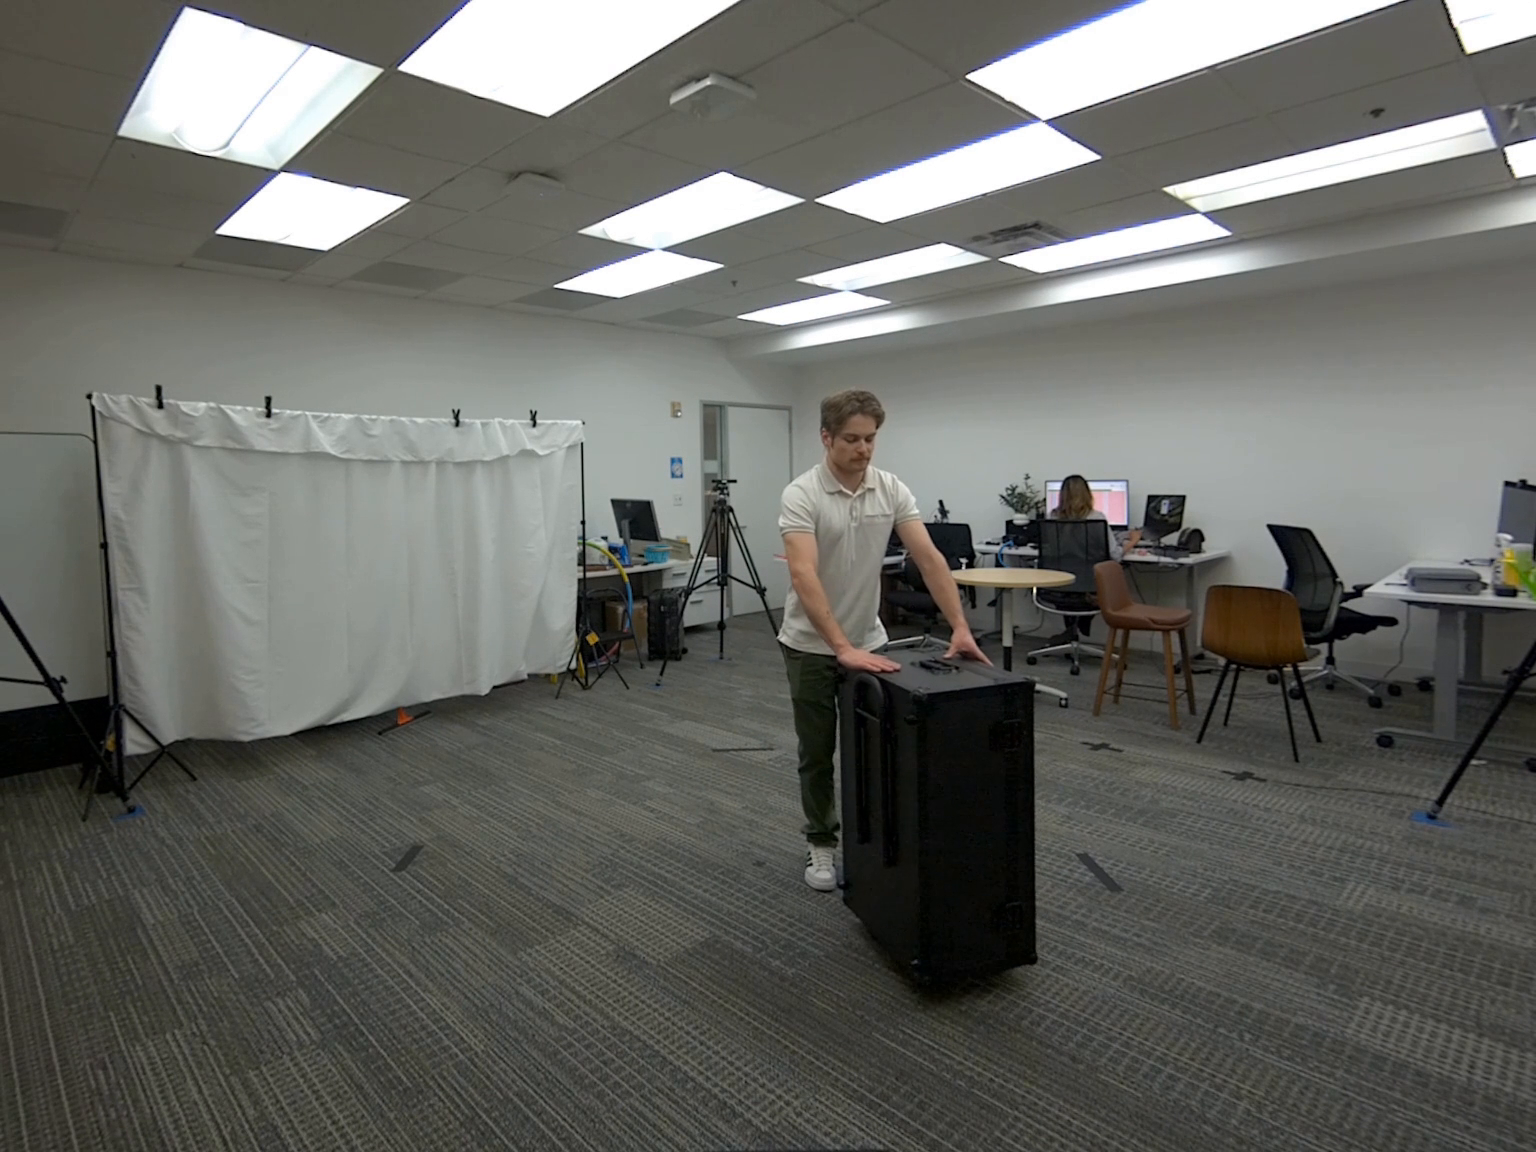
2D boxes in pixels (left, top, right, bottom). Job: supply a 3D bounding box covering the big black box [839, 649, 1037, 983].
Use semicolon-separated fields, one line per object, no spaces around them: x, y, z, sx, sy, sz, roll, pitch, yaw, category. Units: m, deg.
0.479;0.692;2.461;0.379;0.865;0.534;-4;5;-20;big black box
